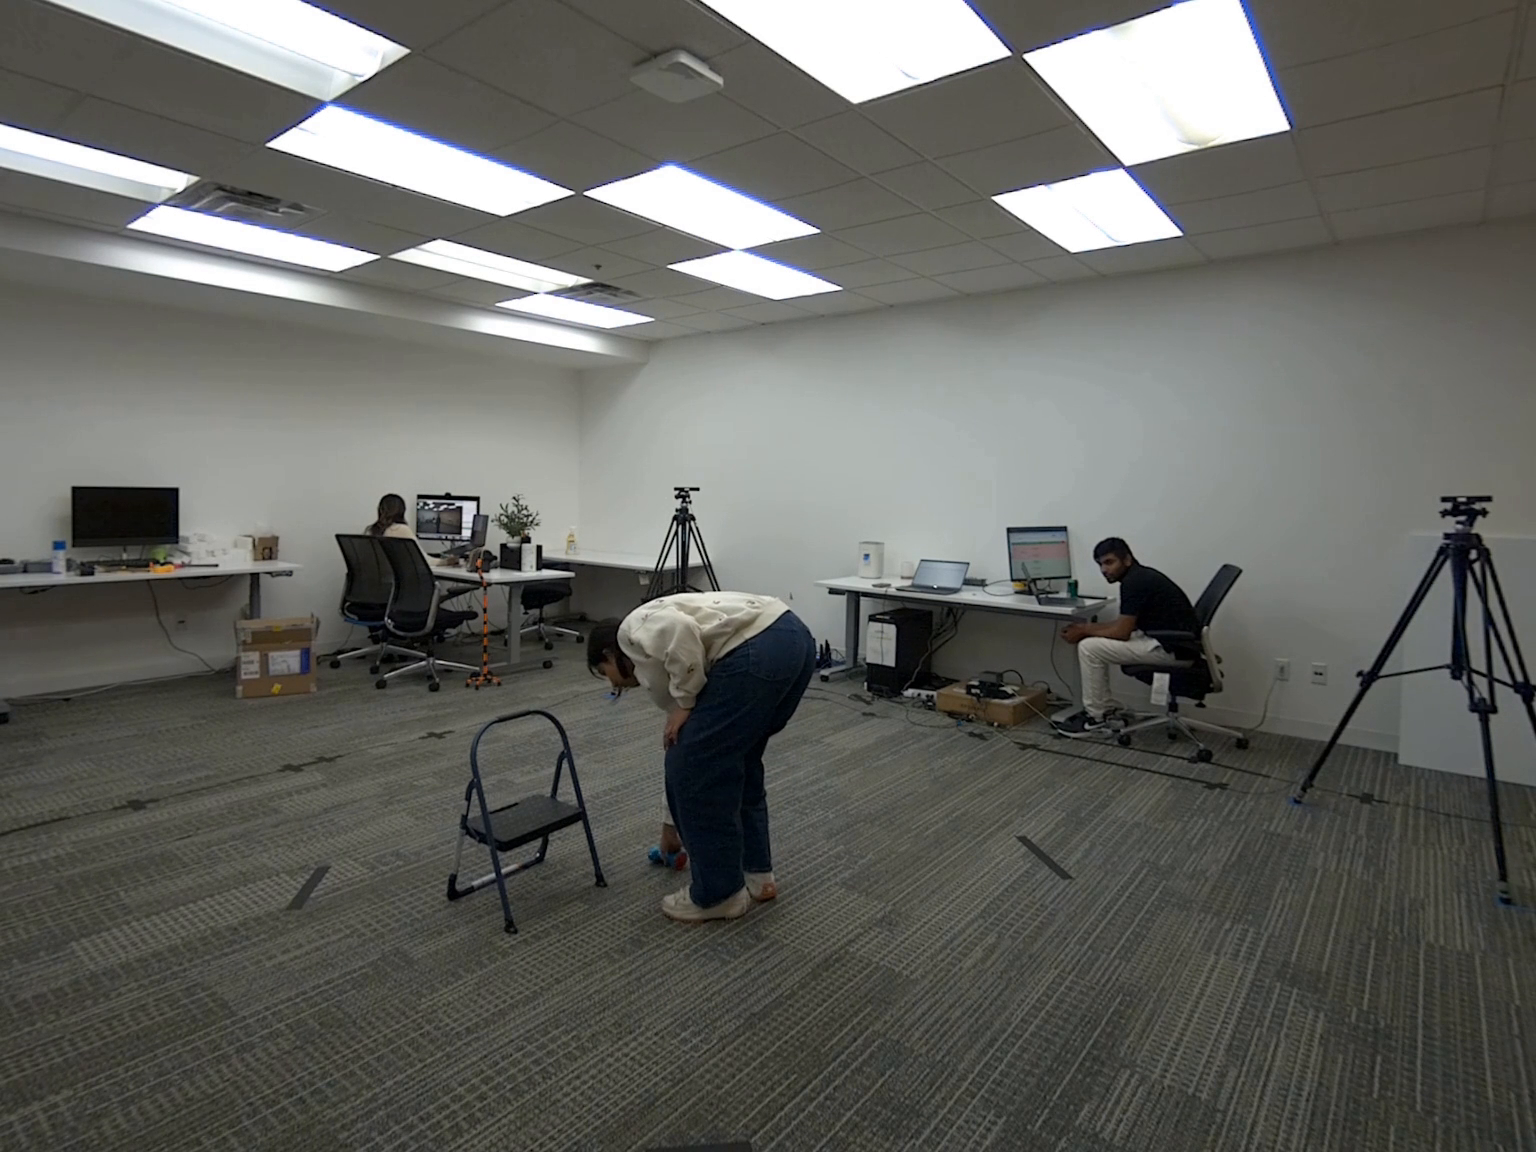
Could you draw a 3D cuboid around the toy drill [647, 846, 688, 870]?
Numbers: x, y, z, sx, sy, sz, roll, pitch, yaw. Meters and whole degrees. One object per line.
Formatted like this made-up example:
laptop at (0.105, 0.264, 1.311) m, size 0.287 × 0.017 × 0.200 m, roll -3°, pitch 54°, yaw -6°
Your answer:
toy drill at (-0.370, 1.031, 3.163) m, size 0.150 × 0.061 × 0.165 m, roll 6°, pitch 5°, yaw 31°
